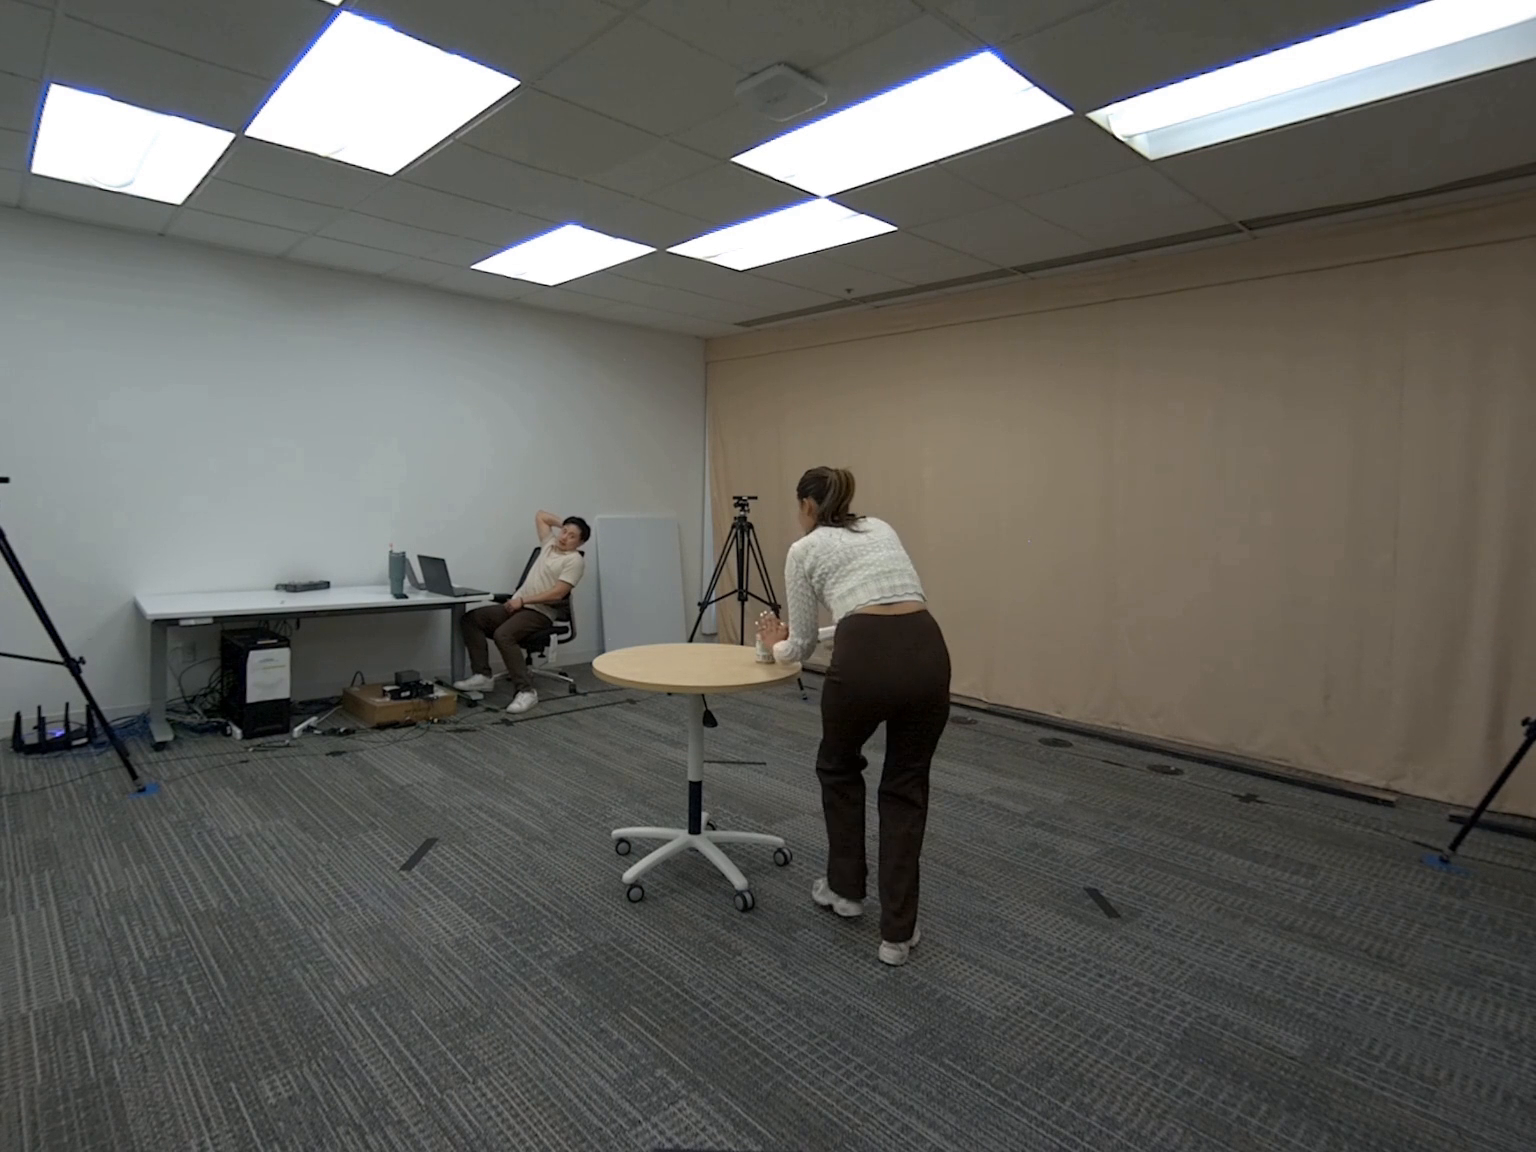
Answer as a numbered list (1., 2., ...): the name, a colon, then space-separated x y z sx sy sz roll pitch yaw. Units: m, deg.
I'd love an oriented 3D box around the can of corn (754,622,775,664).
1. can of corn: -0.018 0.263 3.108 0.074 0.111 0.074 3 4 -2
